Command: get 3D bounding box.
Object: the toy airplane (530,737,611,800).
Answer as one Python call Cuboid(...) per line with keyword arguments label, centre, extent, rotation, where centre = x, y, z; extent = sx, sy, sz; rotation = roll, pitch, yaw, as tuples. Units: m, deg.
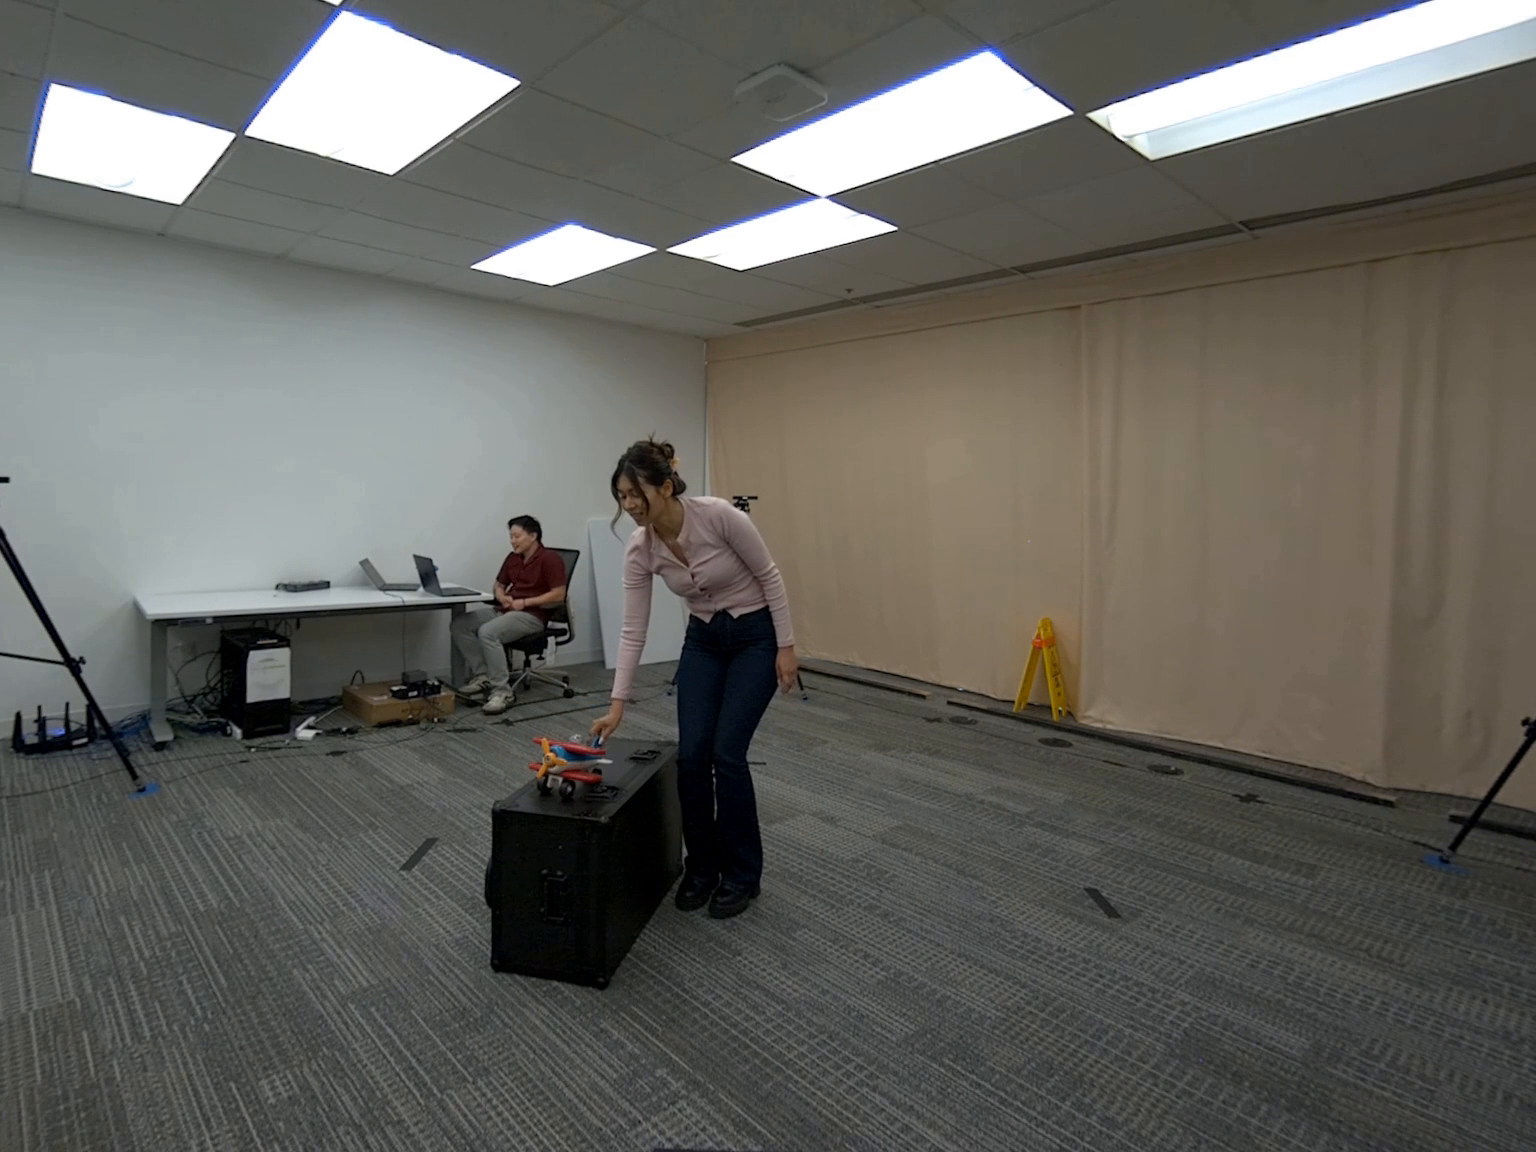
Cuboid(label="toy airplane", centre=(-0.627, 0.579, 2.613), extent=(0.251, 0.156, 0.260), rotation=(1, 5, -2))
